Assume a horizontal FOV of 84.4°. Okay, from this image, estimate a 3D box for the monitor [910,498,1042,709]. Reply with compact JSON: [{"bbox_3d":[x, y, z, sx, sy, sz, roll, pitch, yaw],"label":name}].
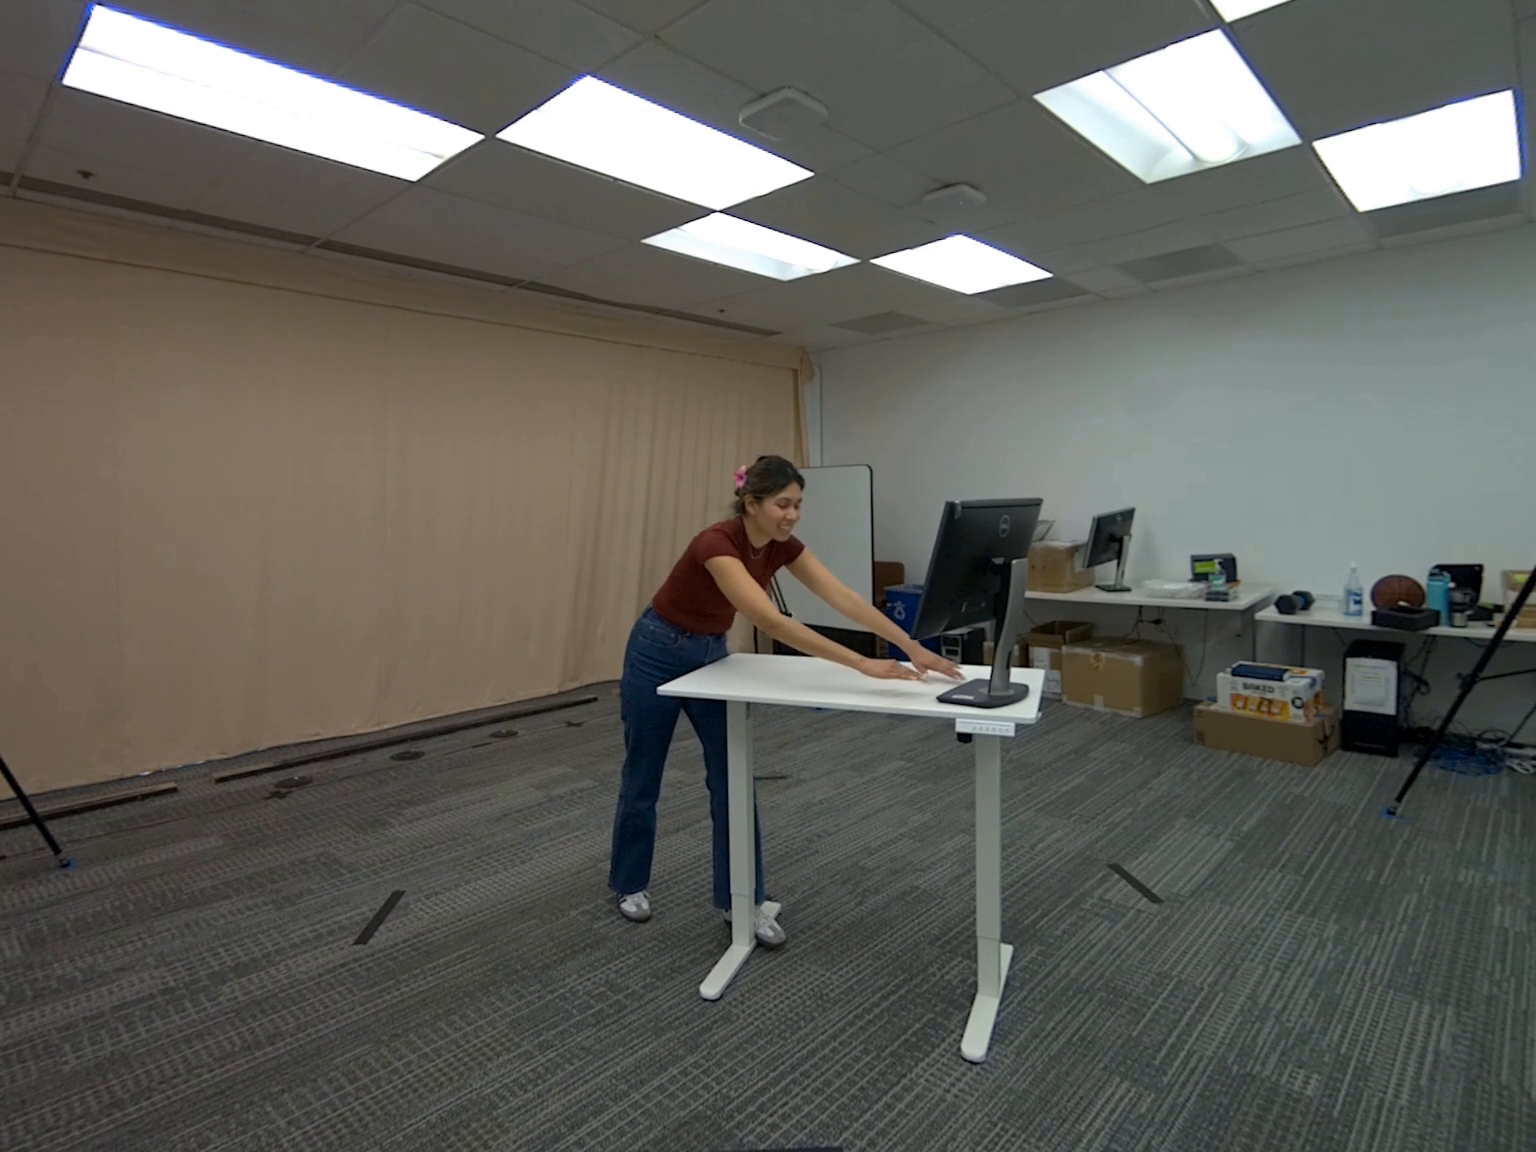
[{"bbox_3d":[0.585,0.061,2.180,0.193,0.521,0.524,4,6,36],"label":"monitor"}]
